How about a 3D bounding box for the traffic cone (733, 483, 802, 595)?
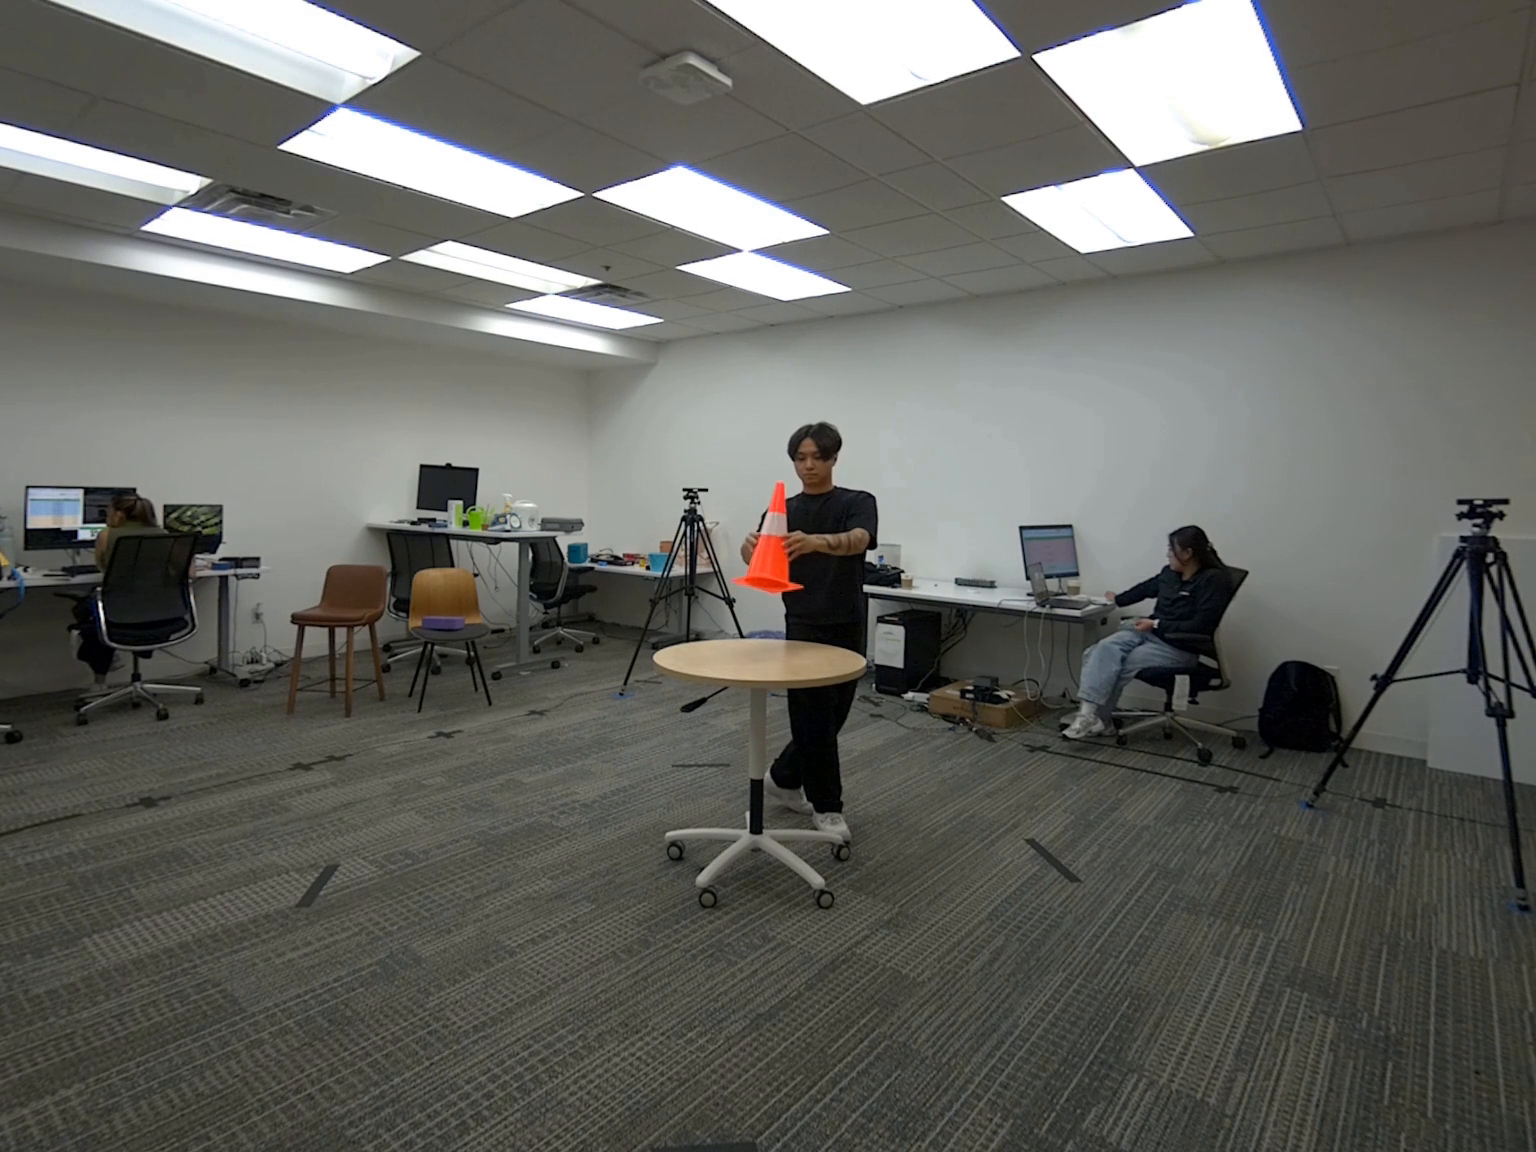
[{"bbox_3d":[0.017,-0.159,3.052,0.196,0.387,0.210,15,-14,-35],"label":"traffic cone"}]
